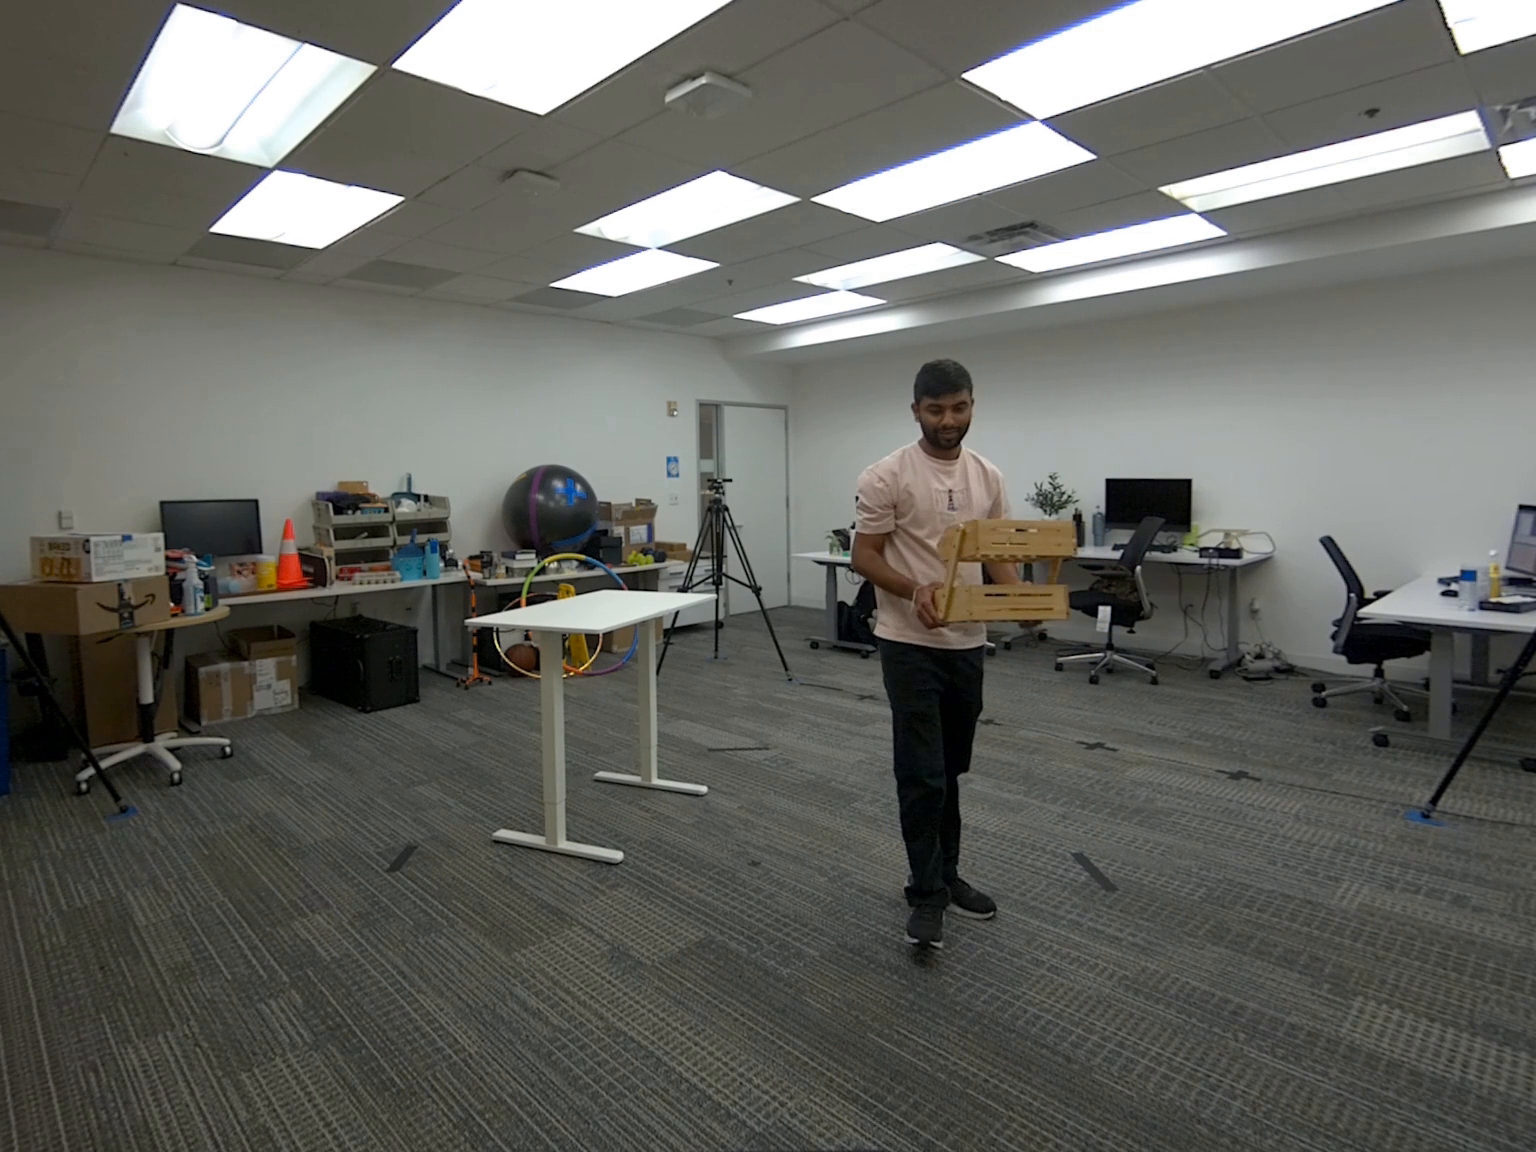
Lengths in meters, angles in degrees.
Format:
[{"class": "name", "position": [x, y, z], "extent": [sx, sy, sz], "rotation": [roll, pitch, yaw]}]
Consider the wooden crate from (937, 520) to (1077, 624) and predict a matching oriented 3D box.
[{"class": "wooden crate", "position": [0.642, -0.009, 2.378], "extent": [0.320, 0.275, 0.305], "rotation": [0, -6, -16]}]
